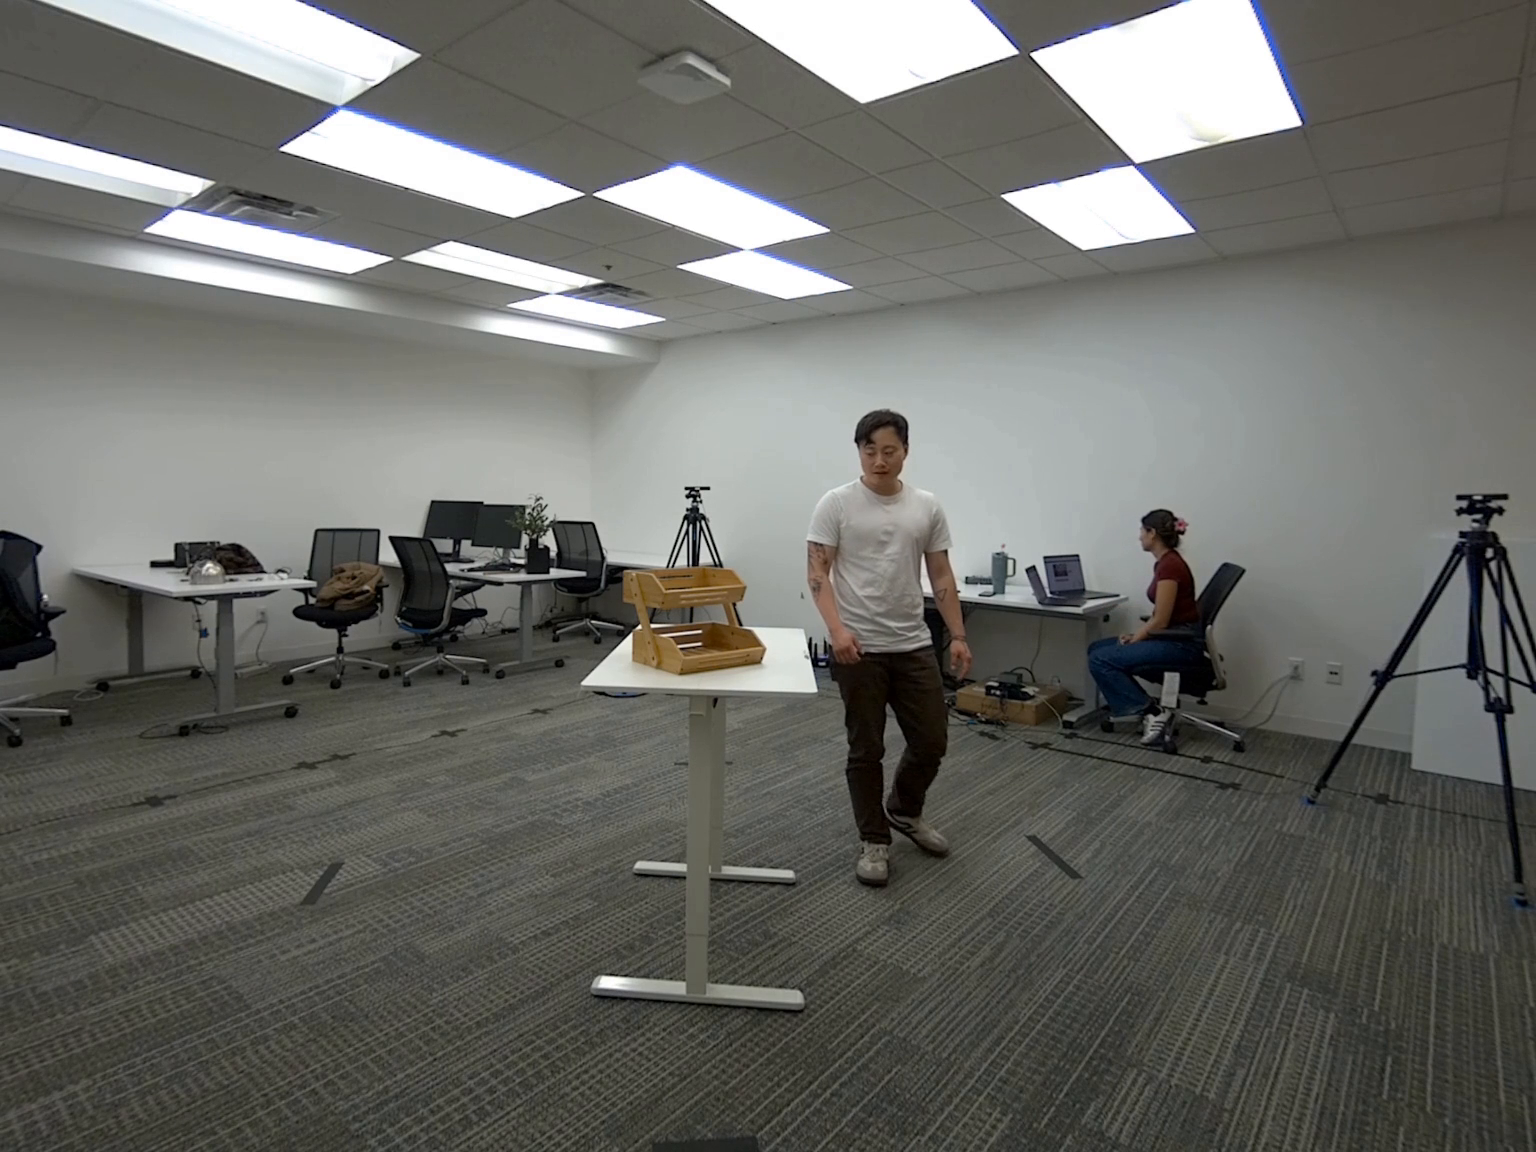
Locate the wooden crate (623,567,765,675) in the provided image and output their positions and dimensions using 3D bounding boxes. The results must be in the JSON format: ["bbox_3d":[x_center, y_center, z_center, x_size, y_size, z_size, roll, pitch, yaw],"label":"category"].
[{"bbox_3d":[-0.222,0.113,2.481,0.315,0.272,0.312,-2,5,-40],"label":"wooden crate"}]
